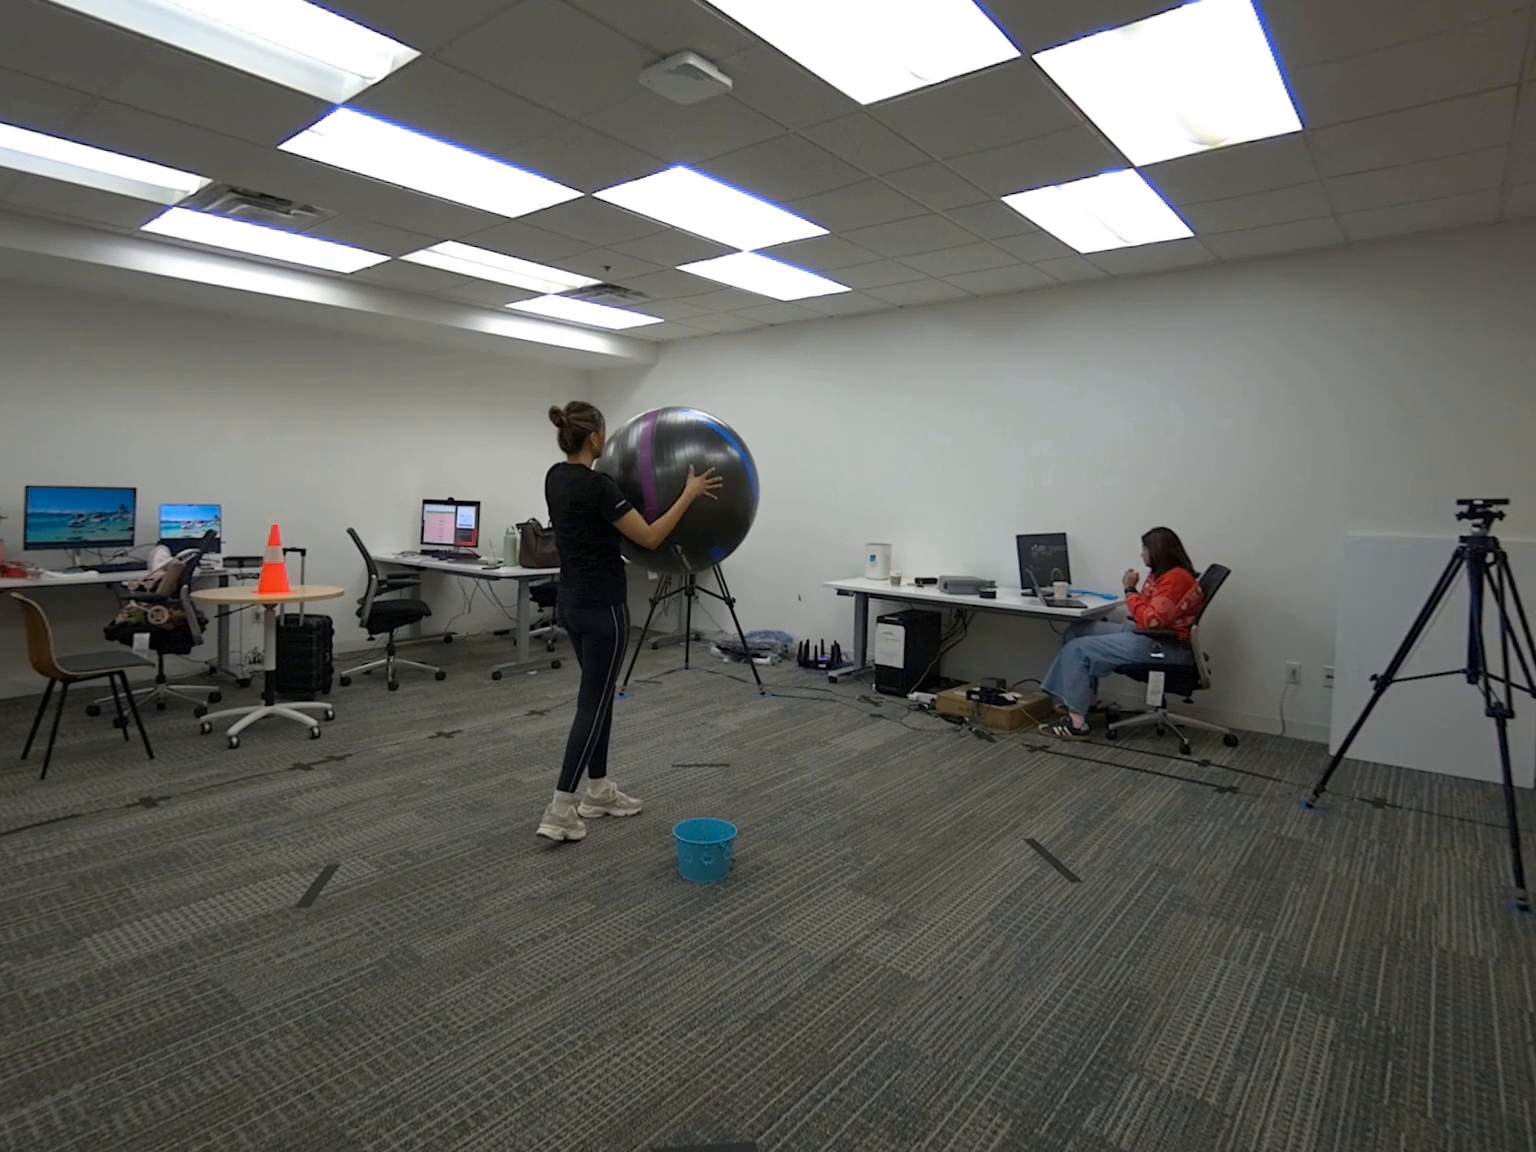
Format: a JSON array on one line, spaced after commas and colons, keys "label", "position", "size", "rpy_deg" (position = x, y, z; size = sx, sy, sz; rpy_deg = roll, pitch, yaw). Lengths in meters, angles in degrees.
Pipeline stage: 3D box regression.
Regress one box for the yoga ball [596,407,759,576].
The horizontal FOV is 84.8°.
[{"label": "yoga ball", "position": [-0.423, -0.381, 3.841], "size": [0.757, 0.756, 0.761], "rpy_deg": [1, 4, -2]}]
